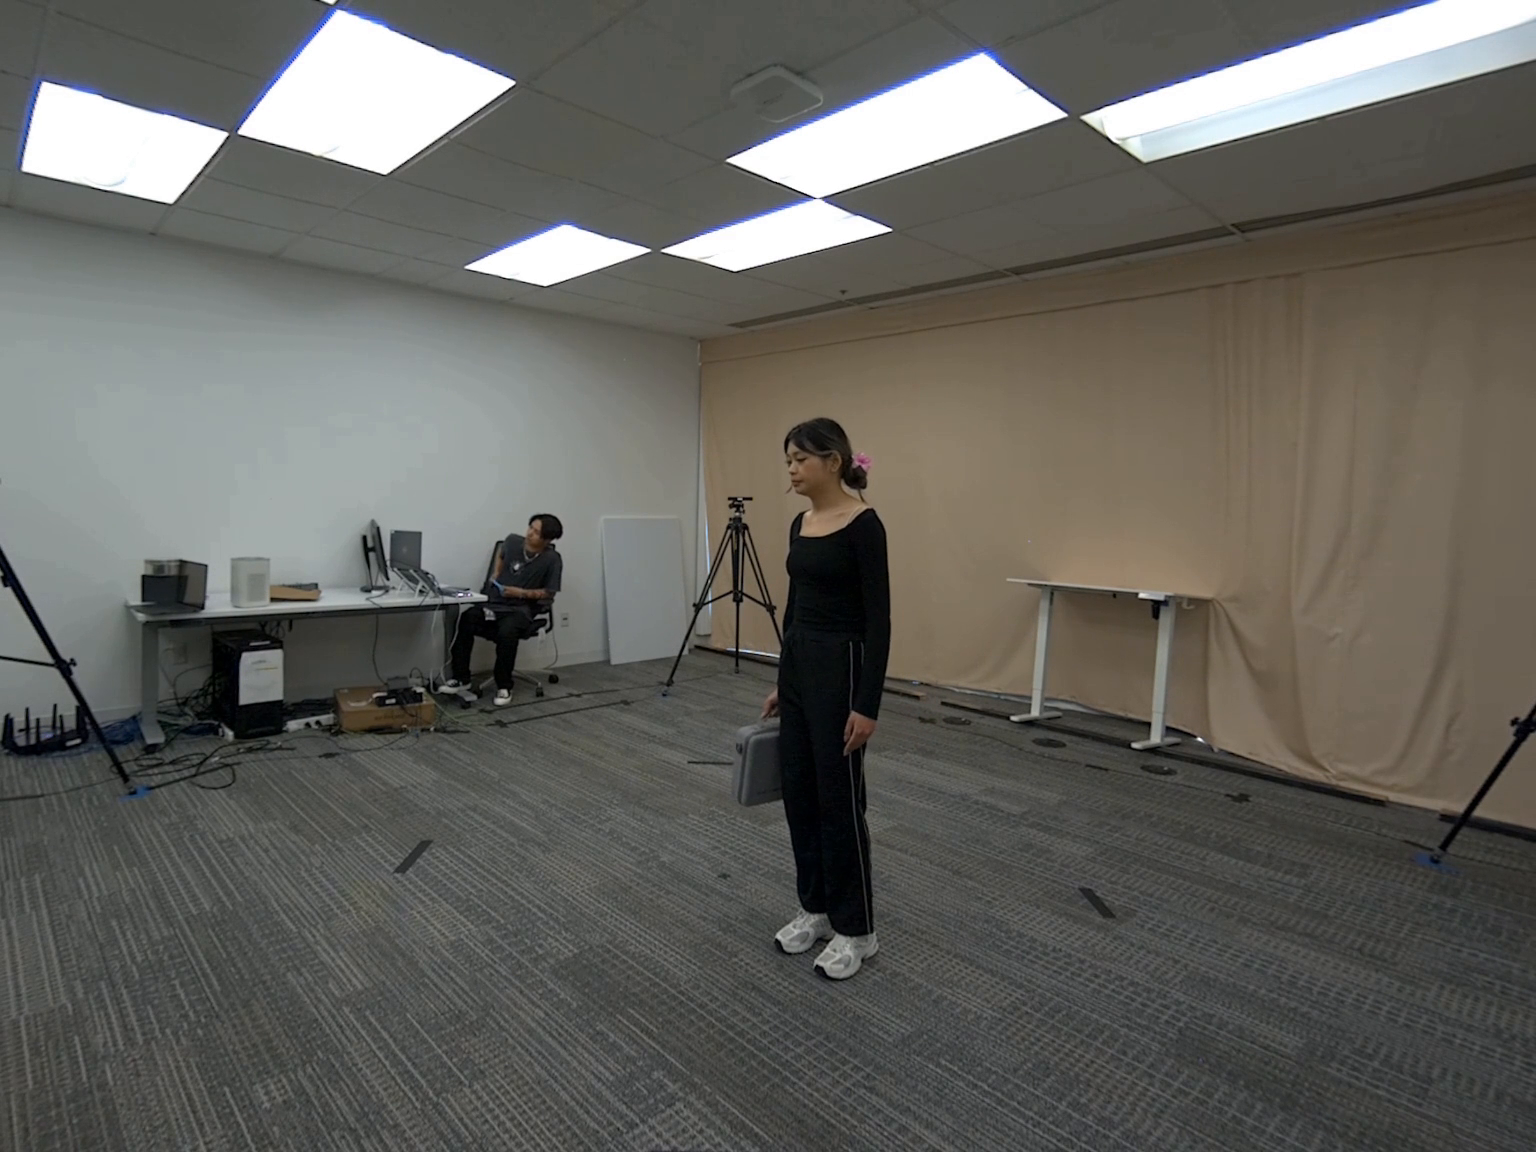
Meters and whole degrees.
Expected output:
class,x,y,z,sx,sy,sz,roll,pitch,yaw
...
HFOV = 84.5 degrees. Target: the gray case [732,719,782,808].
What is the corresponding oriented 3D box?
class,x,y,z,sx,sy,sz,roll,pitch,yaw
gray case,0.010,0.612,2.779,0.252,0.259,0.107,-2,11,-32
